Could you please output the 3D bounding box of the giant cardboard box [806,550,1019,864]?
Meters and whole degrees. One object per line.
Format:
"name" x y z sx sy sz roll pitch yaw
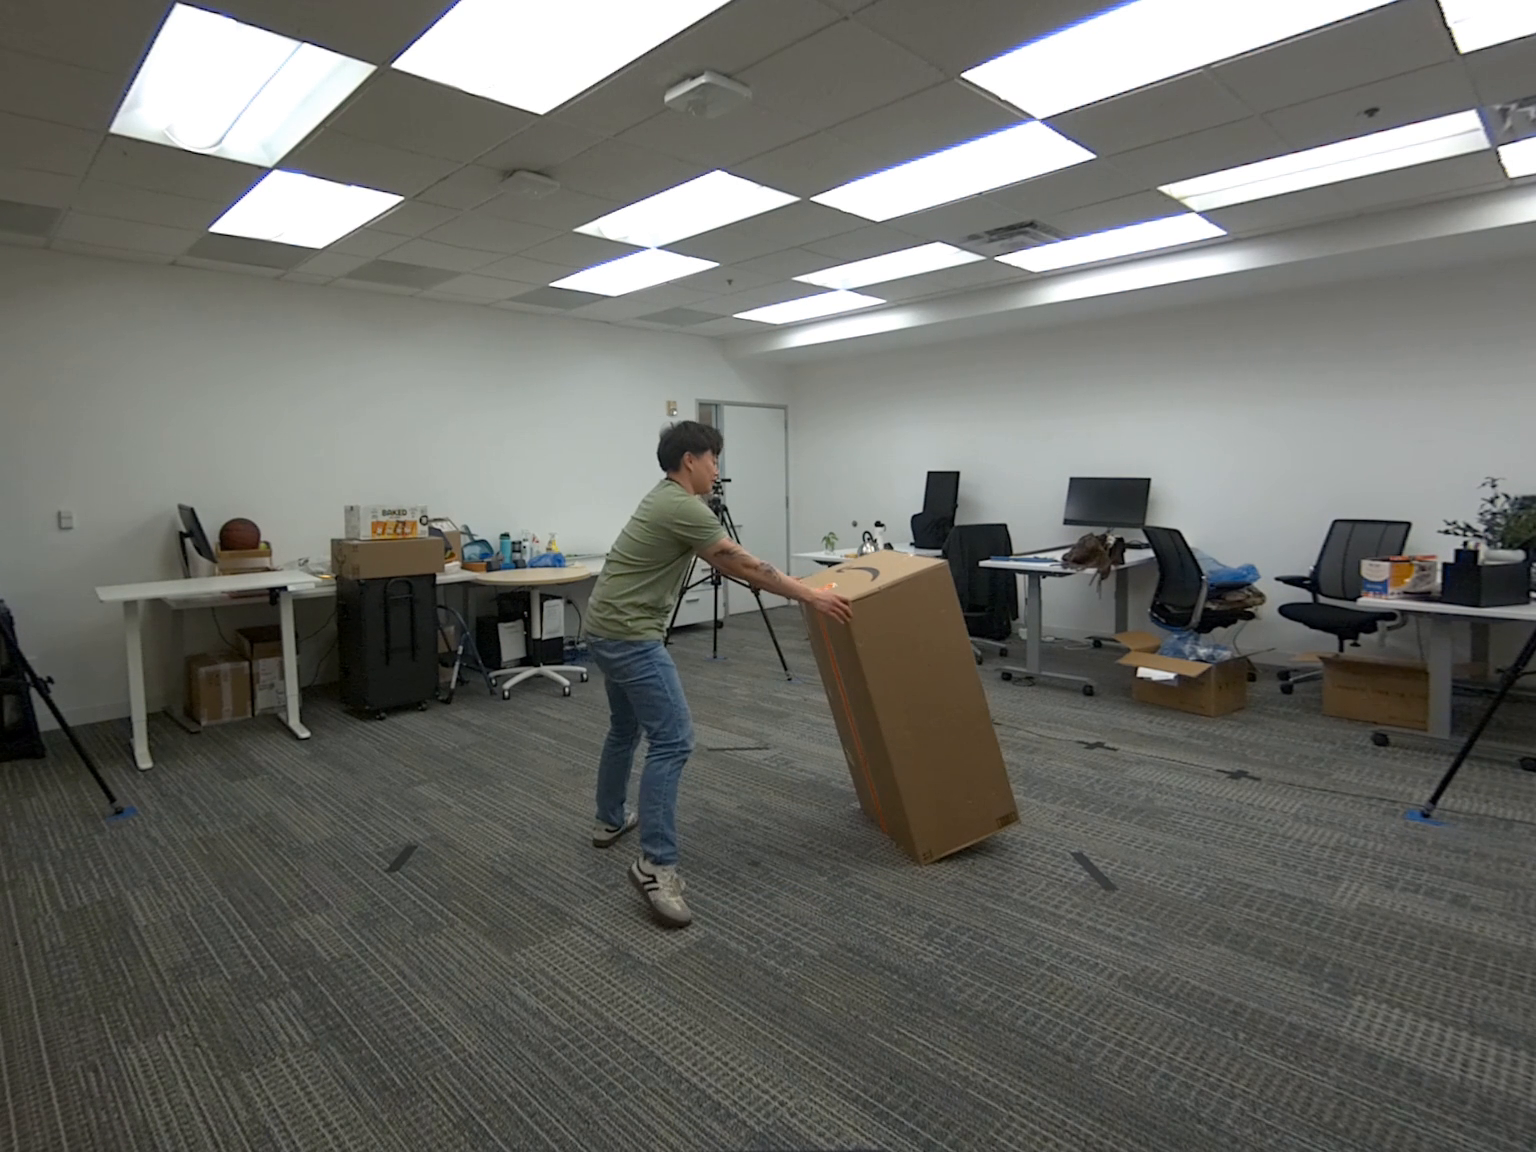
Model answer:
"giant cardboard box" 0.507 0.470 3.310 0.423 1.017 0.587 -19 8 -12
